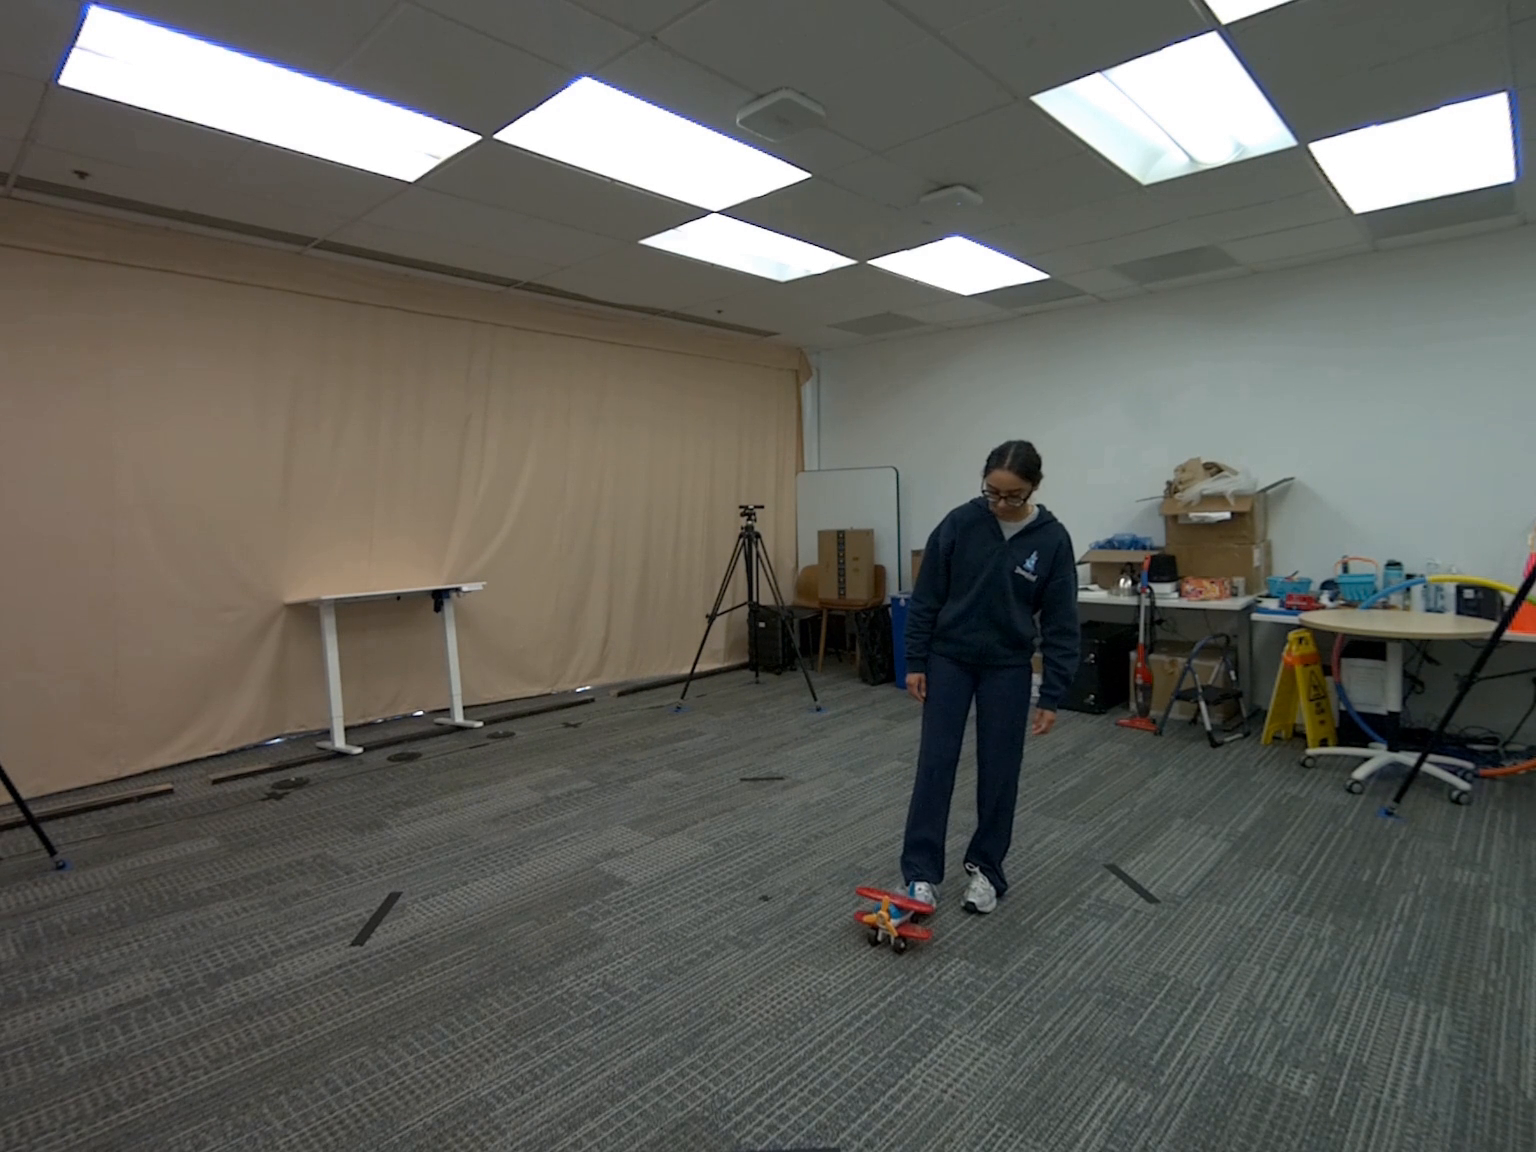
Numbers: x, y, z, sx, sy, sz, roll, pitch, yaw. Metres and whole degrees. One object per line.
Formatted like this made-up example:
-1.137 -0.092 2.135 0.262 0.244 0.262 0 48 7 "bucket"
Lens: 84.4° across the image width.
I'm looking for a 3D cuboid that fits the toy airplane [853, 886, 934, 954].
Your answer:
0.401 1.082 2.700 0.253 0.156 0.258 -1 7 6 "toy airplane"
